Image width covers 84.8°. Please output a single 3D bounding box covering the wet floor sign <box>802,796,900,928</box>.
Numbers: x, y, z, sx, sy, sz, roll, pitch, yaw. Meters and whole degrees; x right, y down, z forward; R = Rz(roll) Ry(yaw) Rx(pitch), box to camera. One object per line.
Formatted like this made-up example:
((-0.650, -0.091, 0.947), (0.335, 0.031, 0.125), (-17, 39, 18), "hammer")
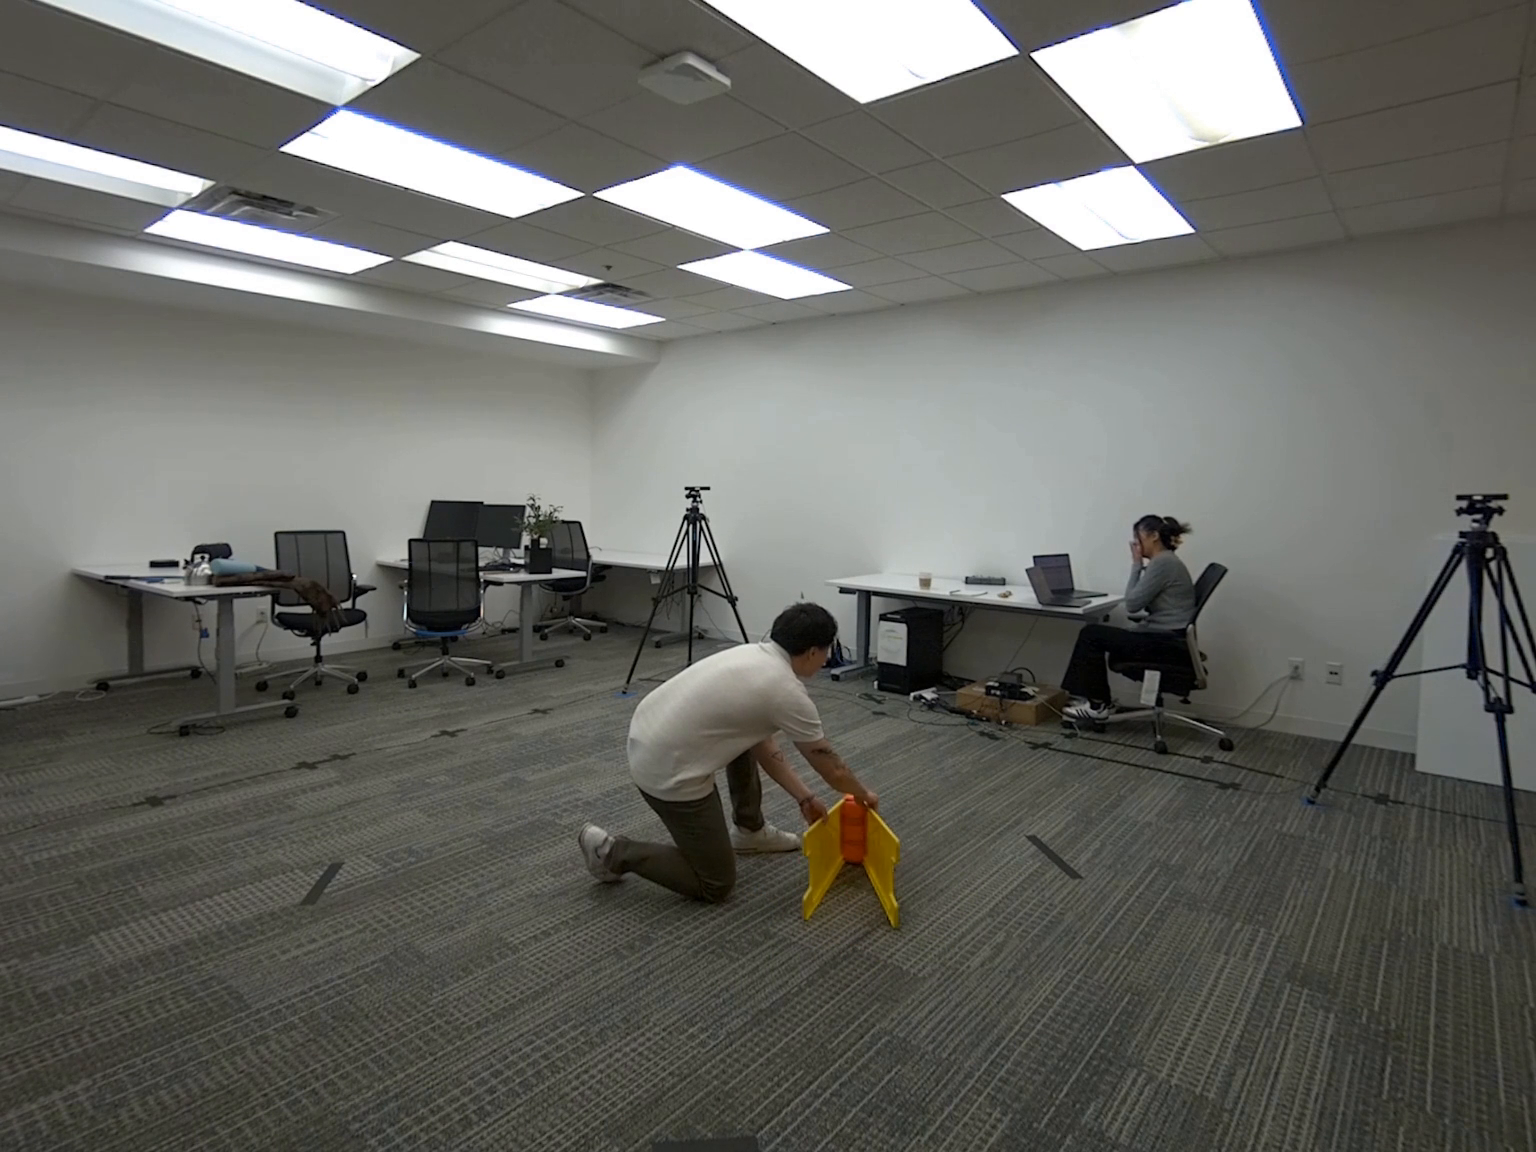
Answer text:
((0.295, 0.954, 3.016), (0.293, 0.282, 0.640), (0, 2, 8), "wet floor sign")
